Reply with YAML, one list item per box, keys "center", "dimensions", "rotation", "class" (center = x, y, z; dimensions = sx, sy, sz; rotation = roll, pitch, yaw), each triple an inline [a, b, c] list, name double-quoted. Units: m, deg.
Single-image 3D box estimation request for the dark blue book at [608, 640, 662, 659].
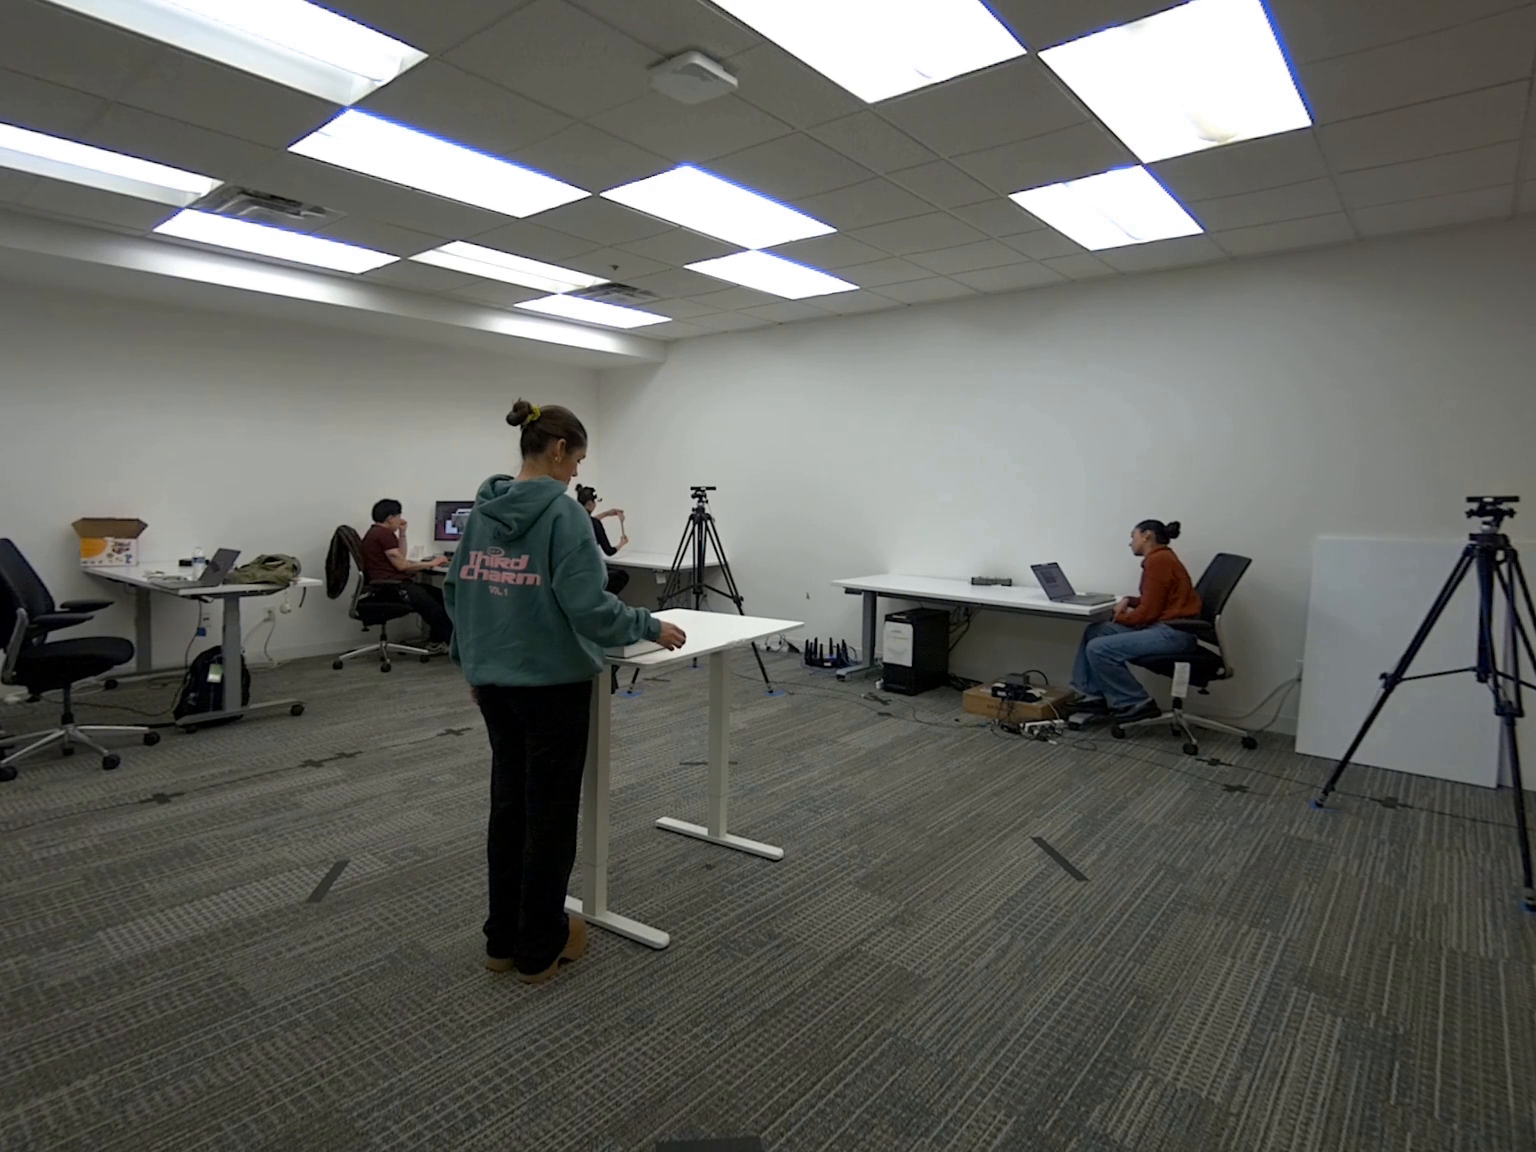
- center: [-0.435, 0.209, 2.621]
  dimensions: [0.168, 0.045, 0.239]
  rotation: [3, 5, 26]
  class: "dark blue book"
